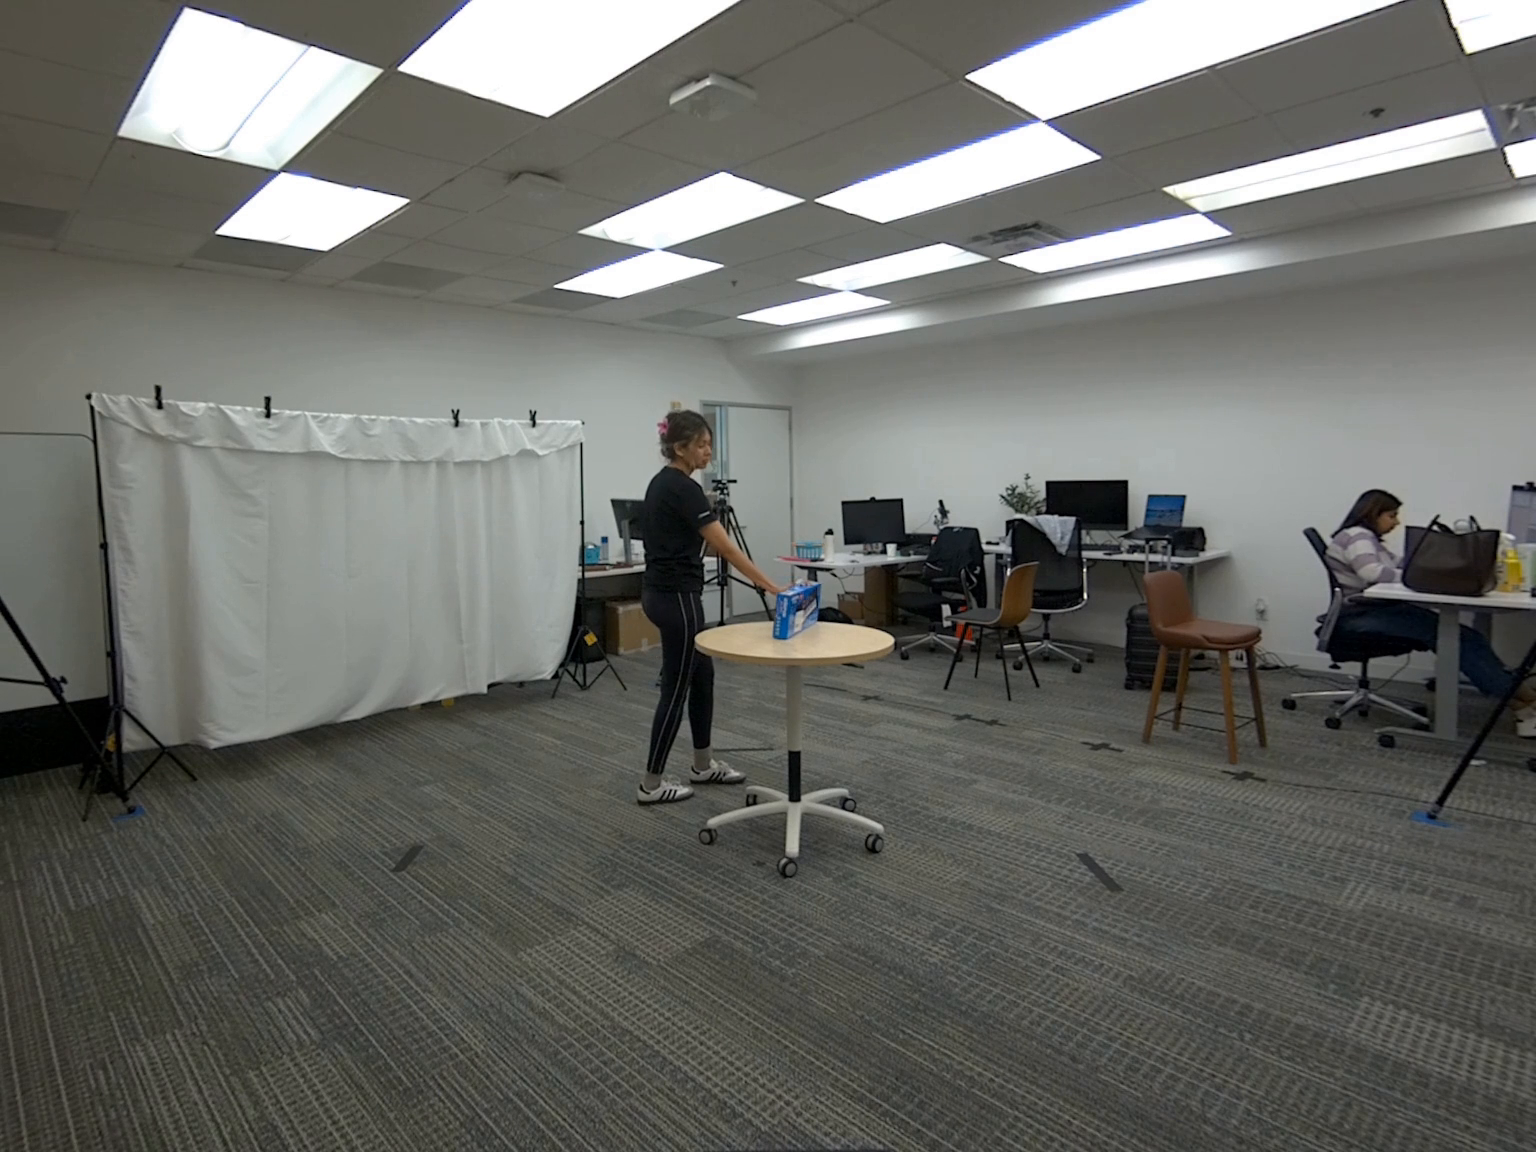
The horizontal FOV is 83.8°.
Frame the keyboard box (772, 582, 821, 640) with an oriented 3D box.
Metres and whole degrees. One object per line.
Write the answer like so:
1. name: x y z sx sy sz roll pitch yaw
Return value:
1. keyboard box: 0.121 0.136 3.459 0.060 0.175 0.431 8 8 17
